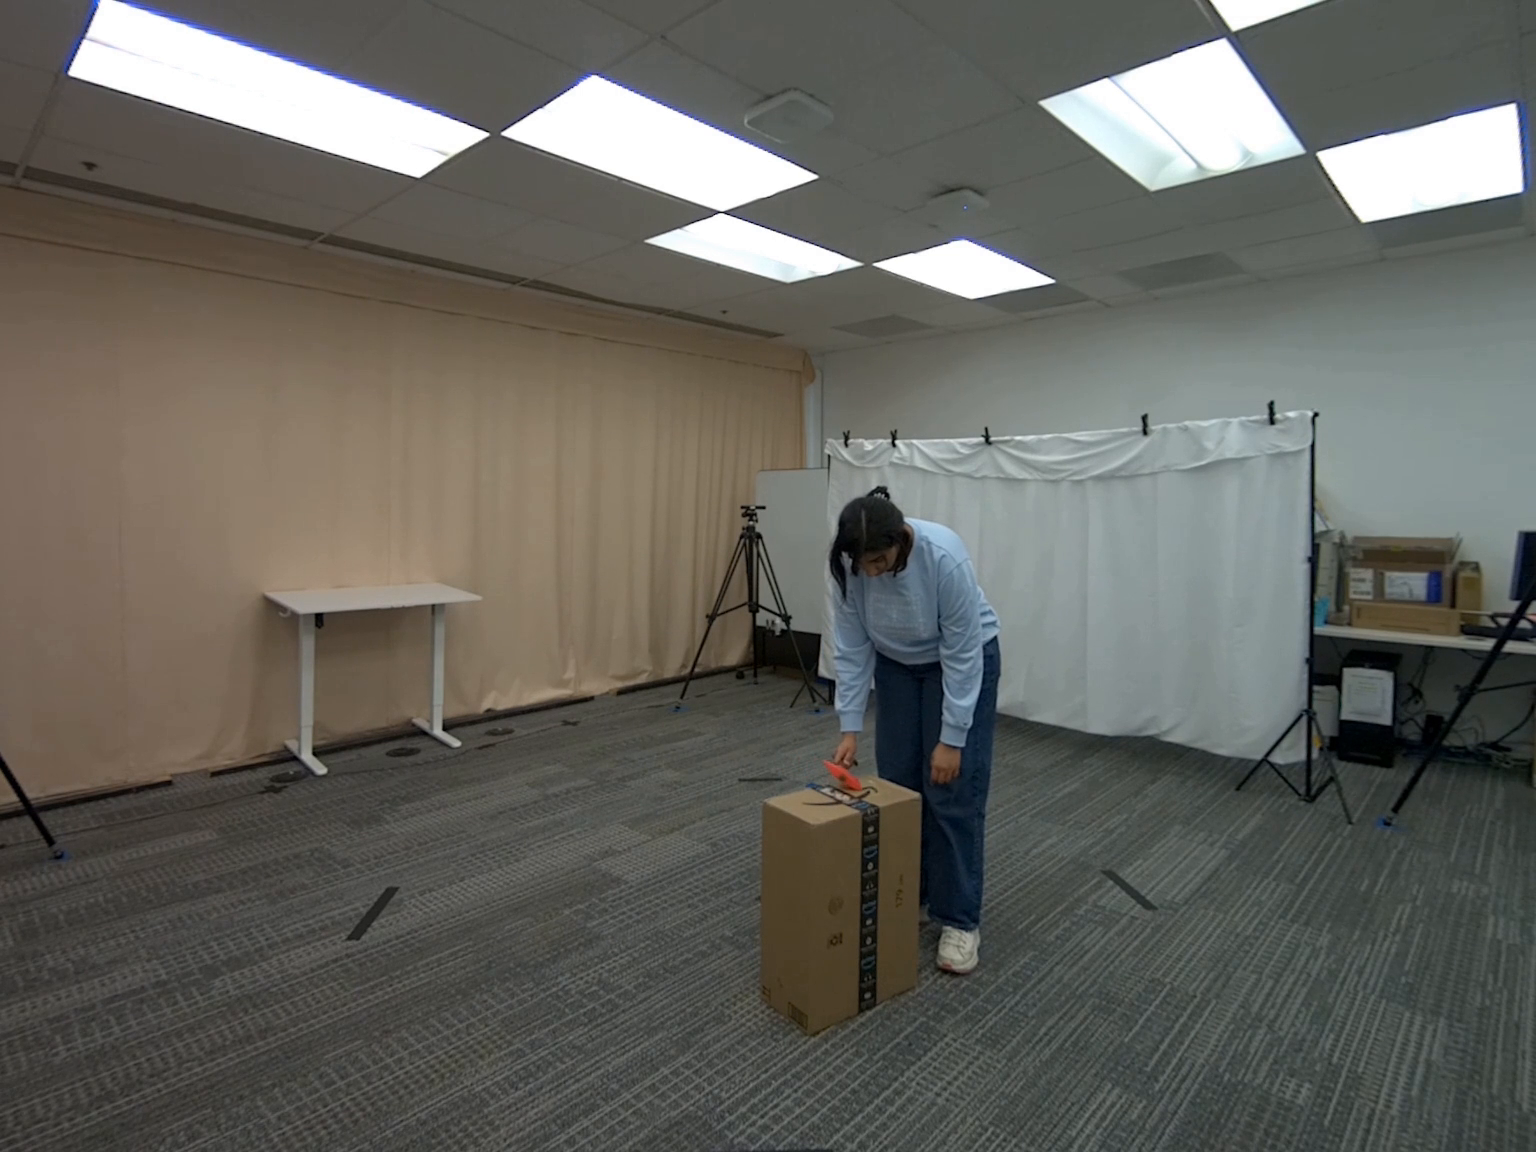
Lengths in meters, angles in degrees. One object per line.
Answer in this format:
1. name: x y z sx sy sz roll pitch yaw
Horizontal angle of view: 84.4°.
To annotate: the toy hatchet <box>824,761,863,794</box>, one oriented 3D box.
1. toy hatchet: 0.260 0.599 2.558 0.135 0.029 0.262 32 3 24
